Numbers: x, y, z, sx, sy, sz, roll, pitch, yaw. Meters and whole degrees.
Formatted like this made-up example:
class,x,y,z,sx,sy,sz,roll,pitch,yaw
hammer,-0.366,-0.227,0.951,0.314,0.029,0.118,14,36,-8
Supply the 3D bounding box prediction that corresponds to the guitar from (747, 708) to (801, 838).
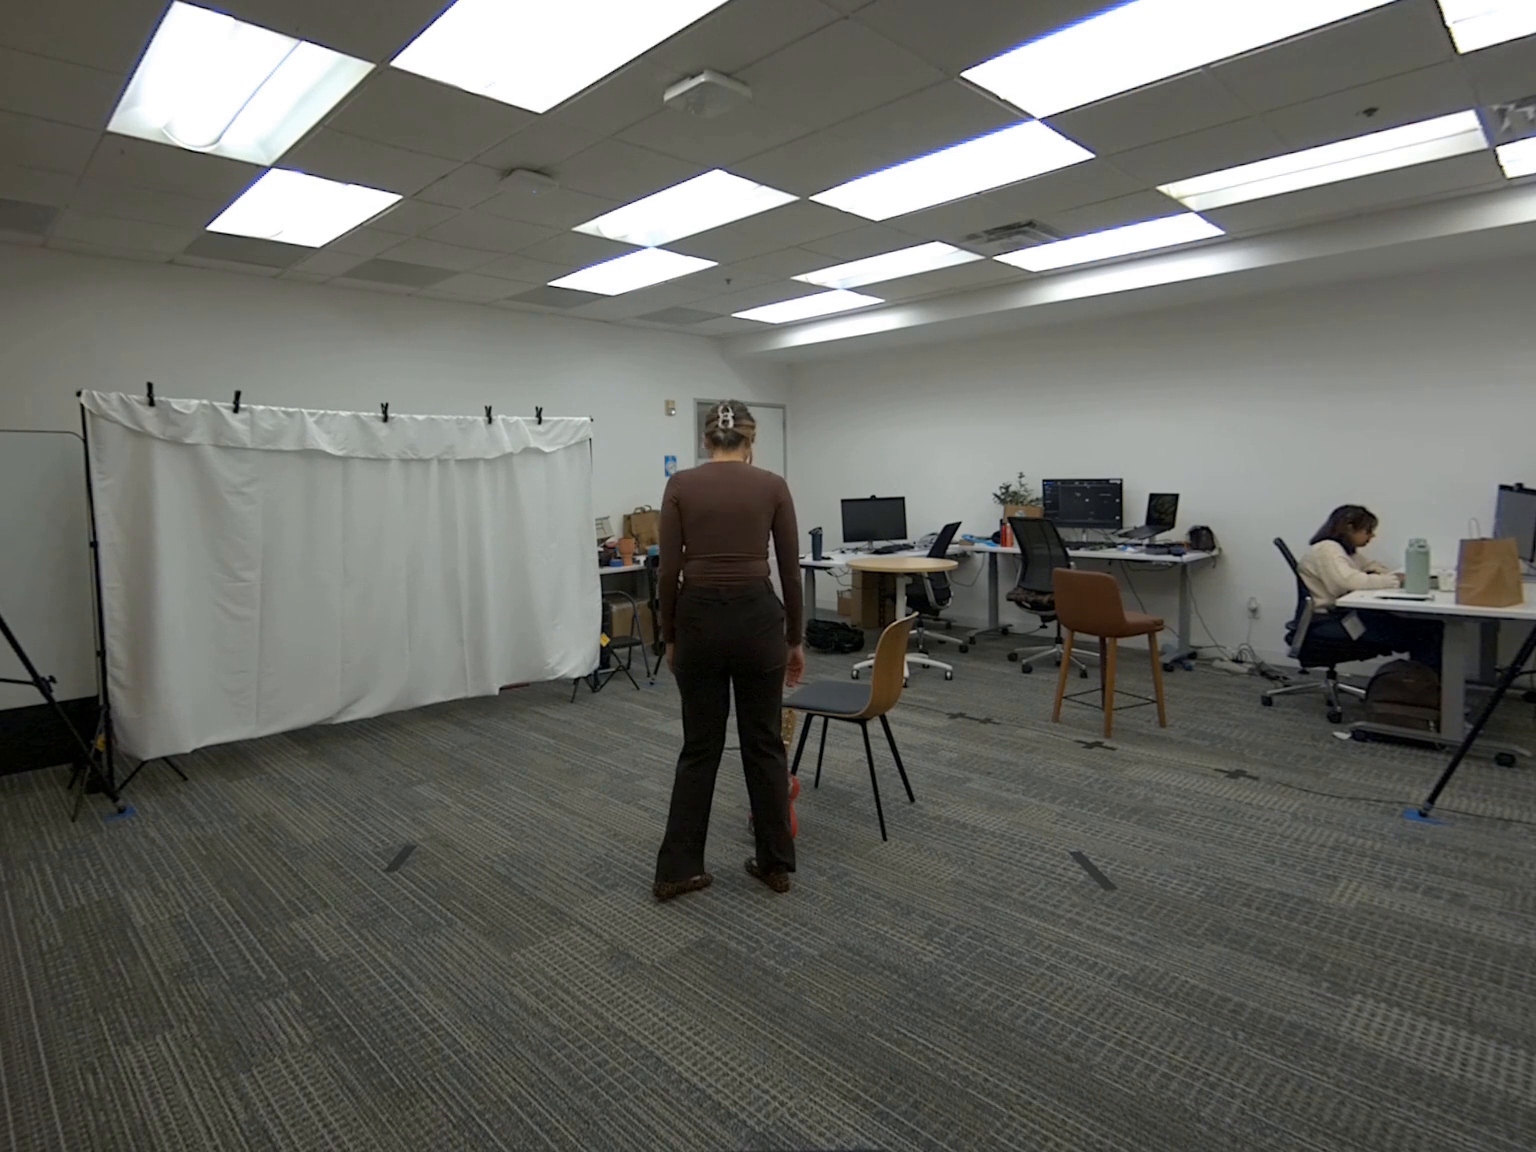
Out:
class,x,y,z,sx,sy,sz,roll,pitch,yaw
guitar,0.073,0.790,3.311,0.199,0.501,0.068,10,-16,32
